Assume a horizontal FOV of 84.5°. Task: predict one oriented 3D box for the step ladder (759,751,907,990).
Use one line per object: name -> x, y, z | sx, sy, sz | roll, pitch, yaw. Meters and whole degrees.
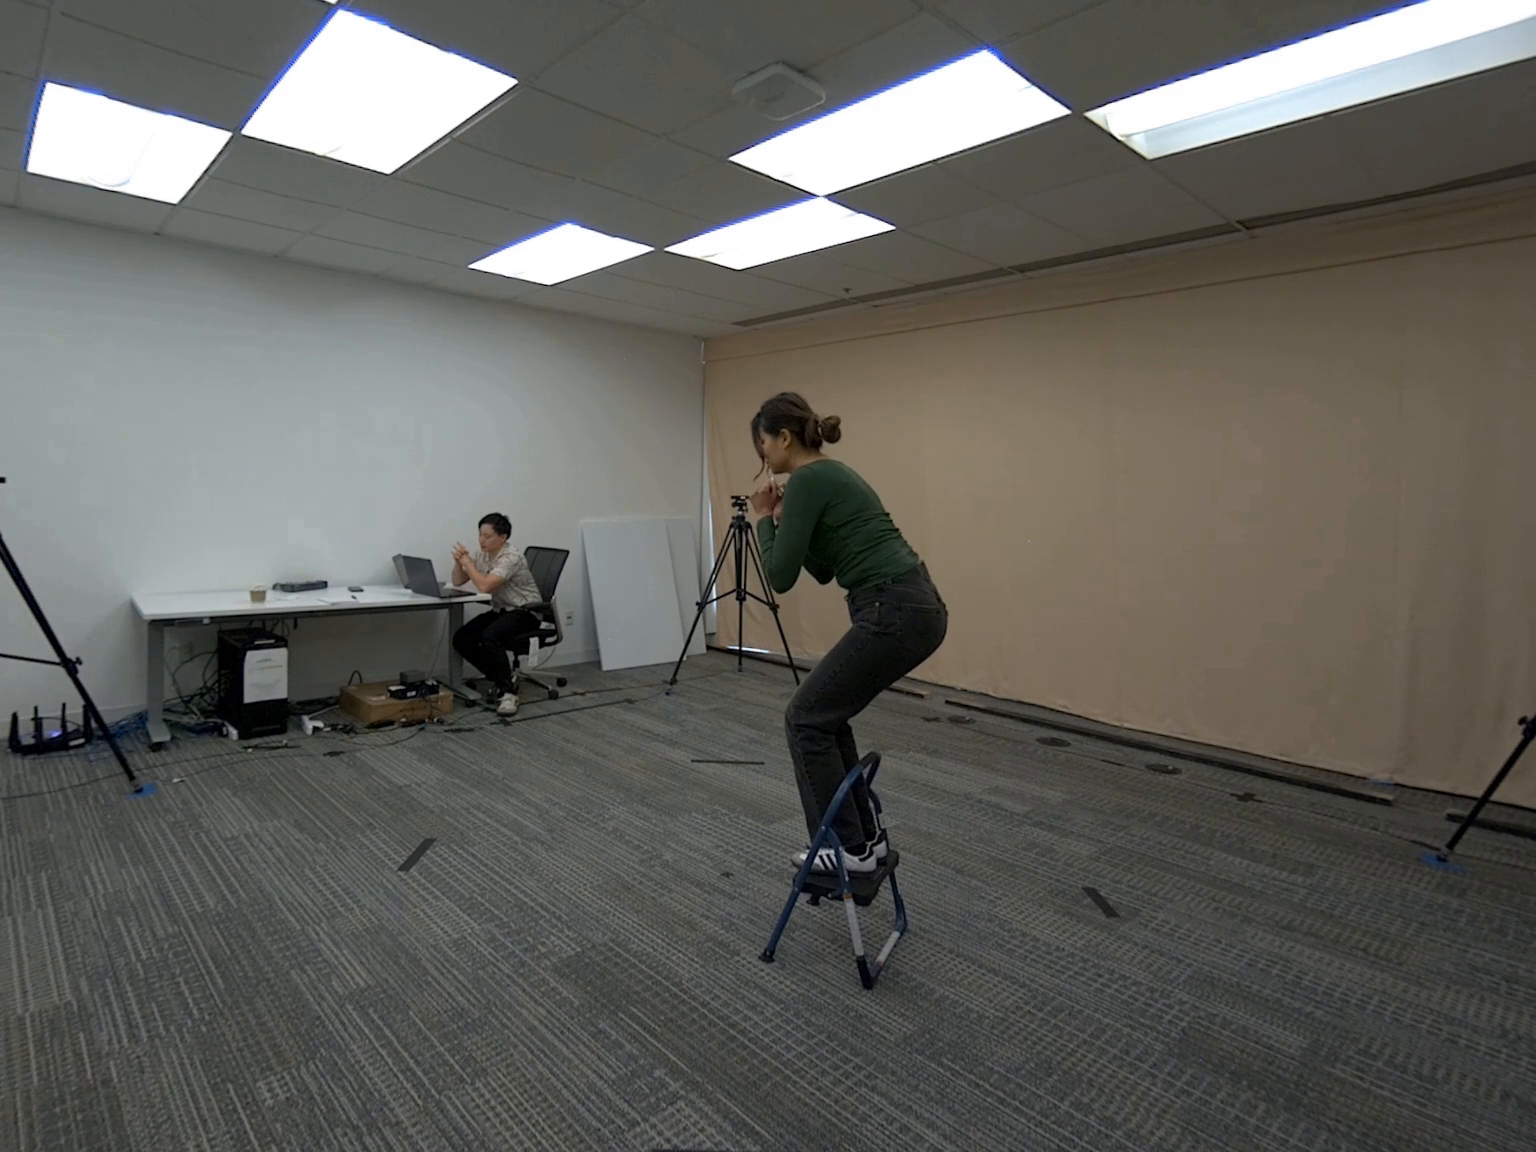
step ladder -> 0.223, 0.856, 2.623 | 0.356, 0.604, 0.423 | 3, 4, 24
